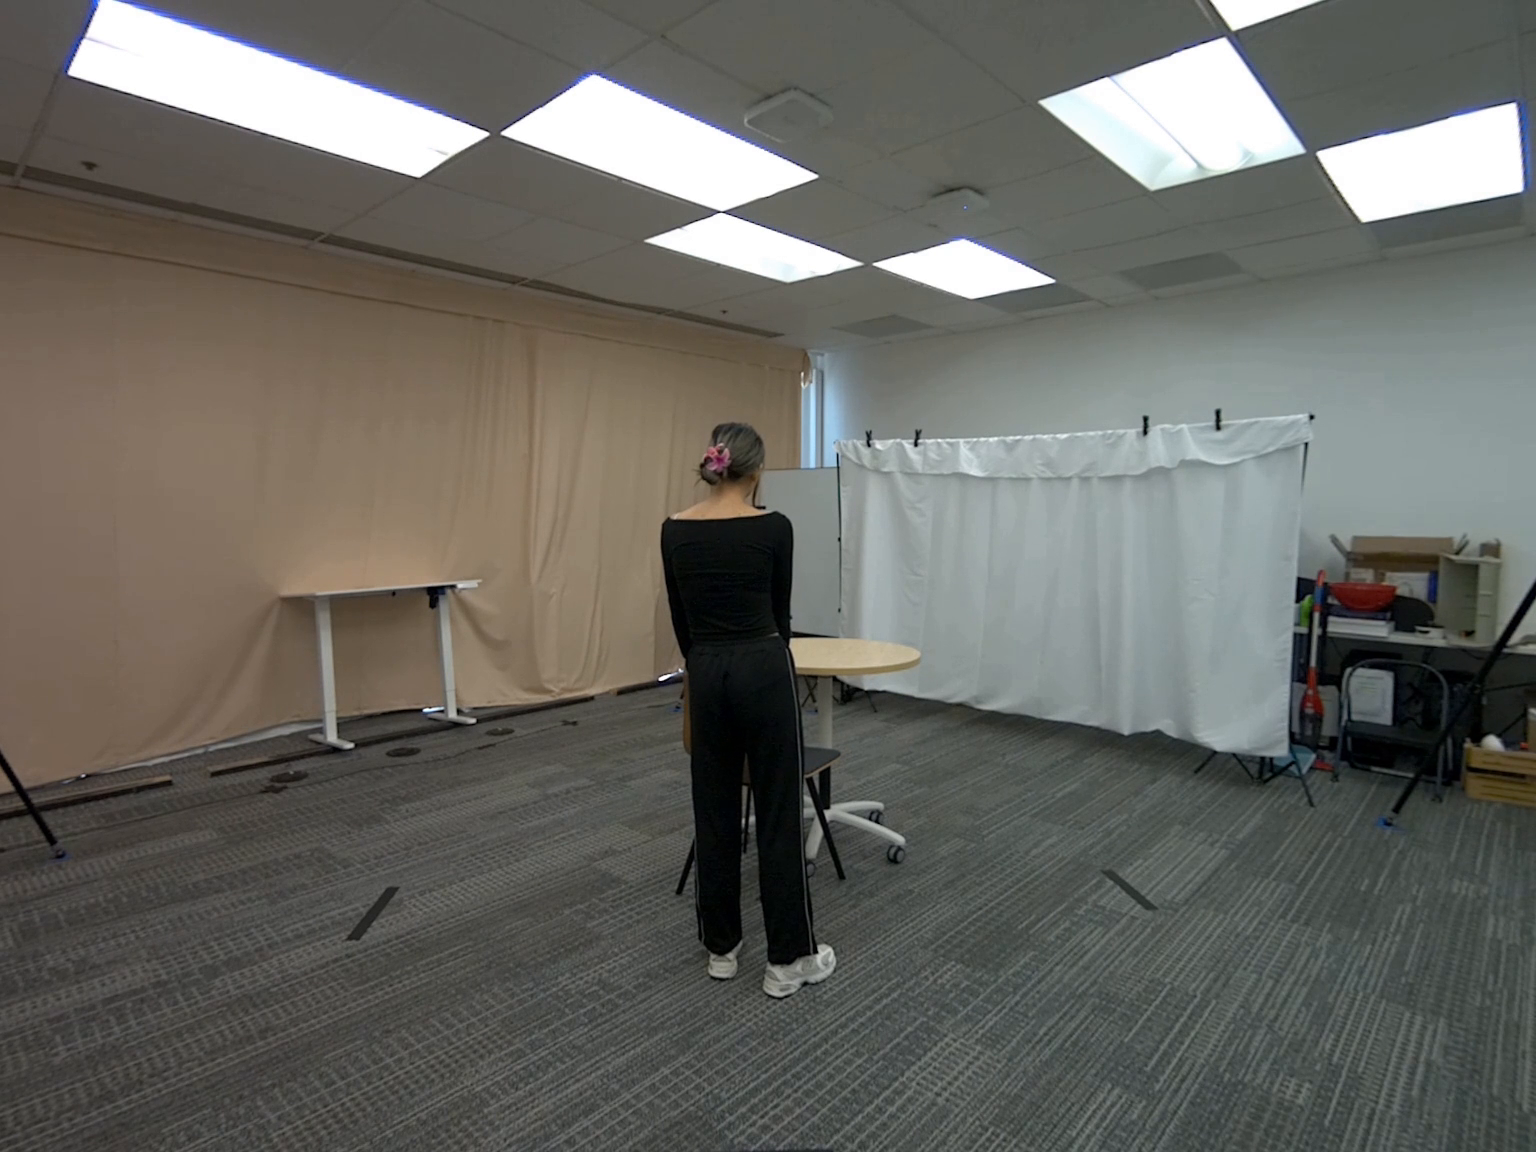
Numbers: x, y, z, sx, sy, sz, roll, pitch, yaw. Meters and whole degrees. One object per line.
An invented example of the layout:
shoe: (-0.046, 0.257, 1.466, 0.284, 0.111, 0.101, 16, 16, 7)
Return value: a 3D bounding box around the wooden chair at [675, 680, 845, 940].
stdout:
wooden chair: (-0.020, 0.709, 3.045, 0.493, 0.873, 0.510, 2, 8, 34)
